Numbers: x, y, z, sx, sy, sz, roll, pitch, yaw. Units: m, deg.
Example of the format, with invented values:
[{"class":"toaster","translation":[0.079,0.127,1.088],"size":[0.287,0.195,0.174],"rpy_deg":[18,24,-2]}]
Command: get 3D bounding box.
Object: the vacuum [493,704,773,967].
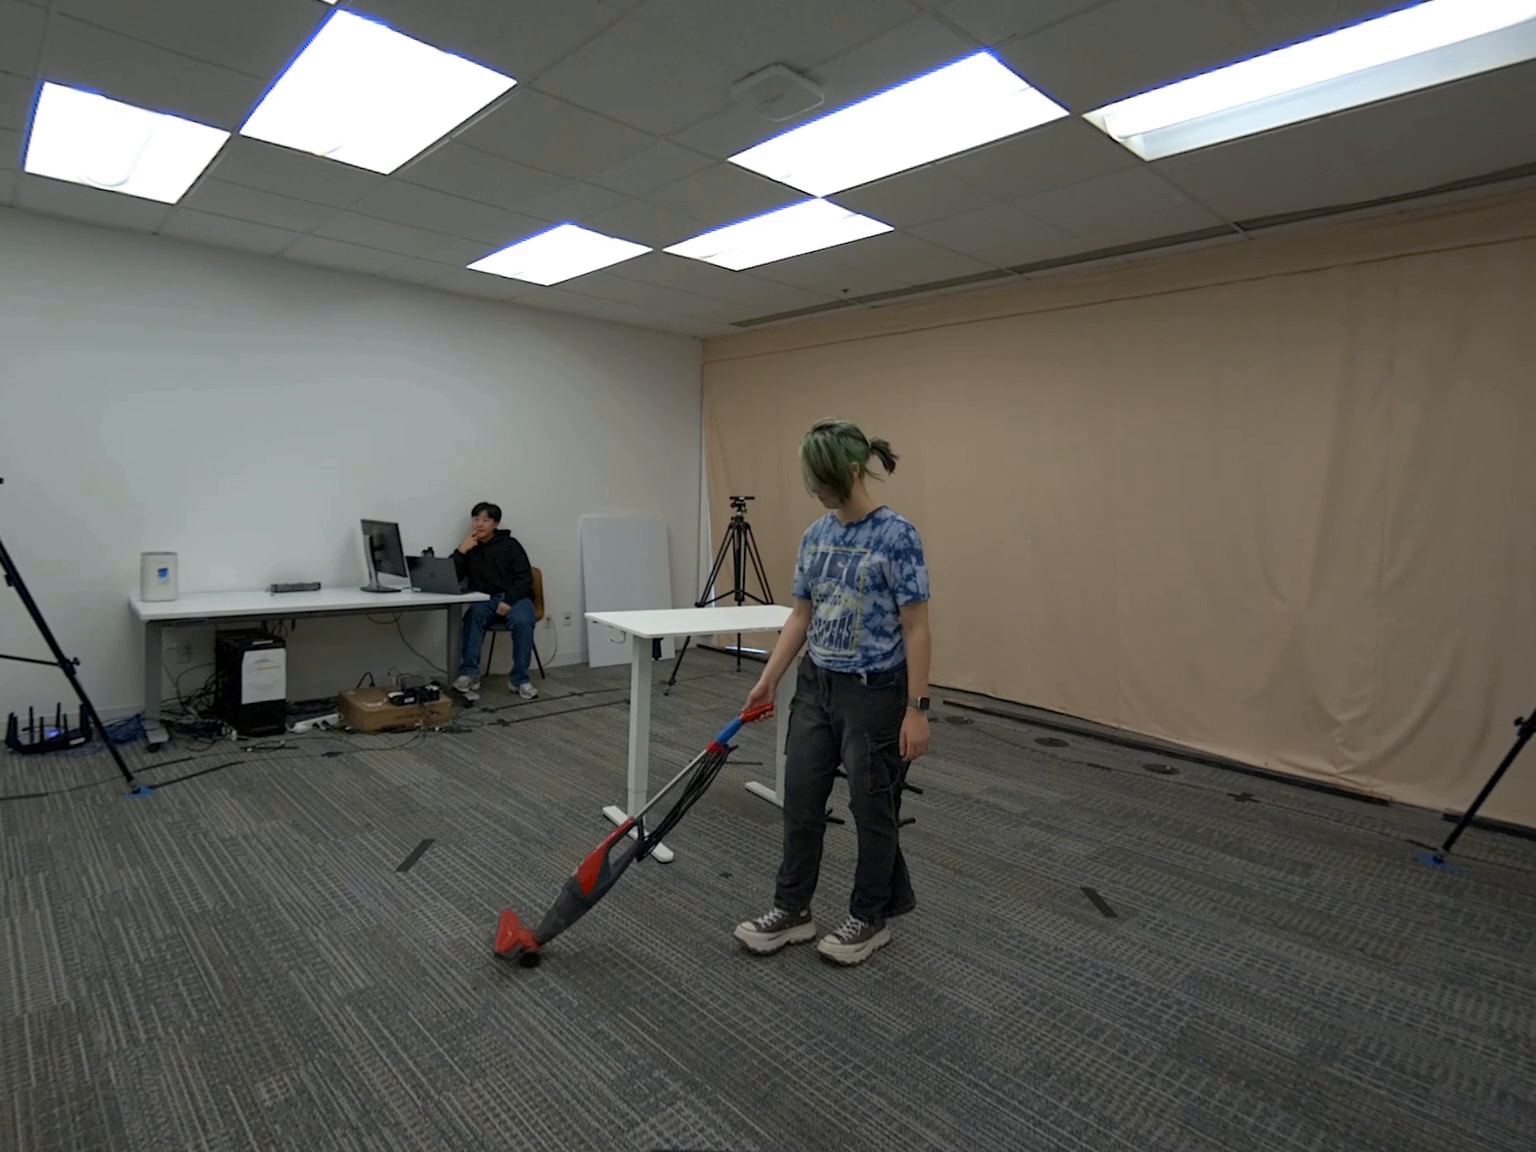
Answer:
[{"class":"vacuum","translation":[-0.376,0.770,2.564],"size":[1.048,0.142,0.256],"rpy_deg":[-41,12,-6]}]
